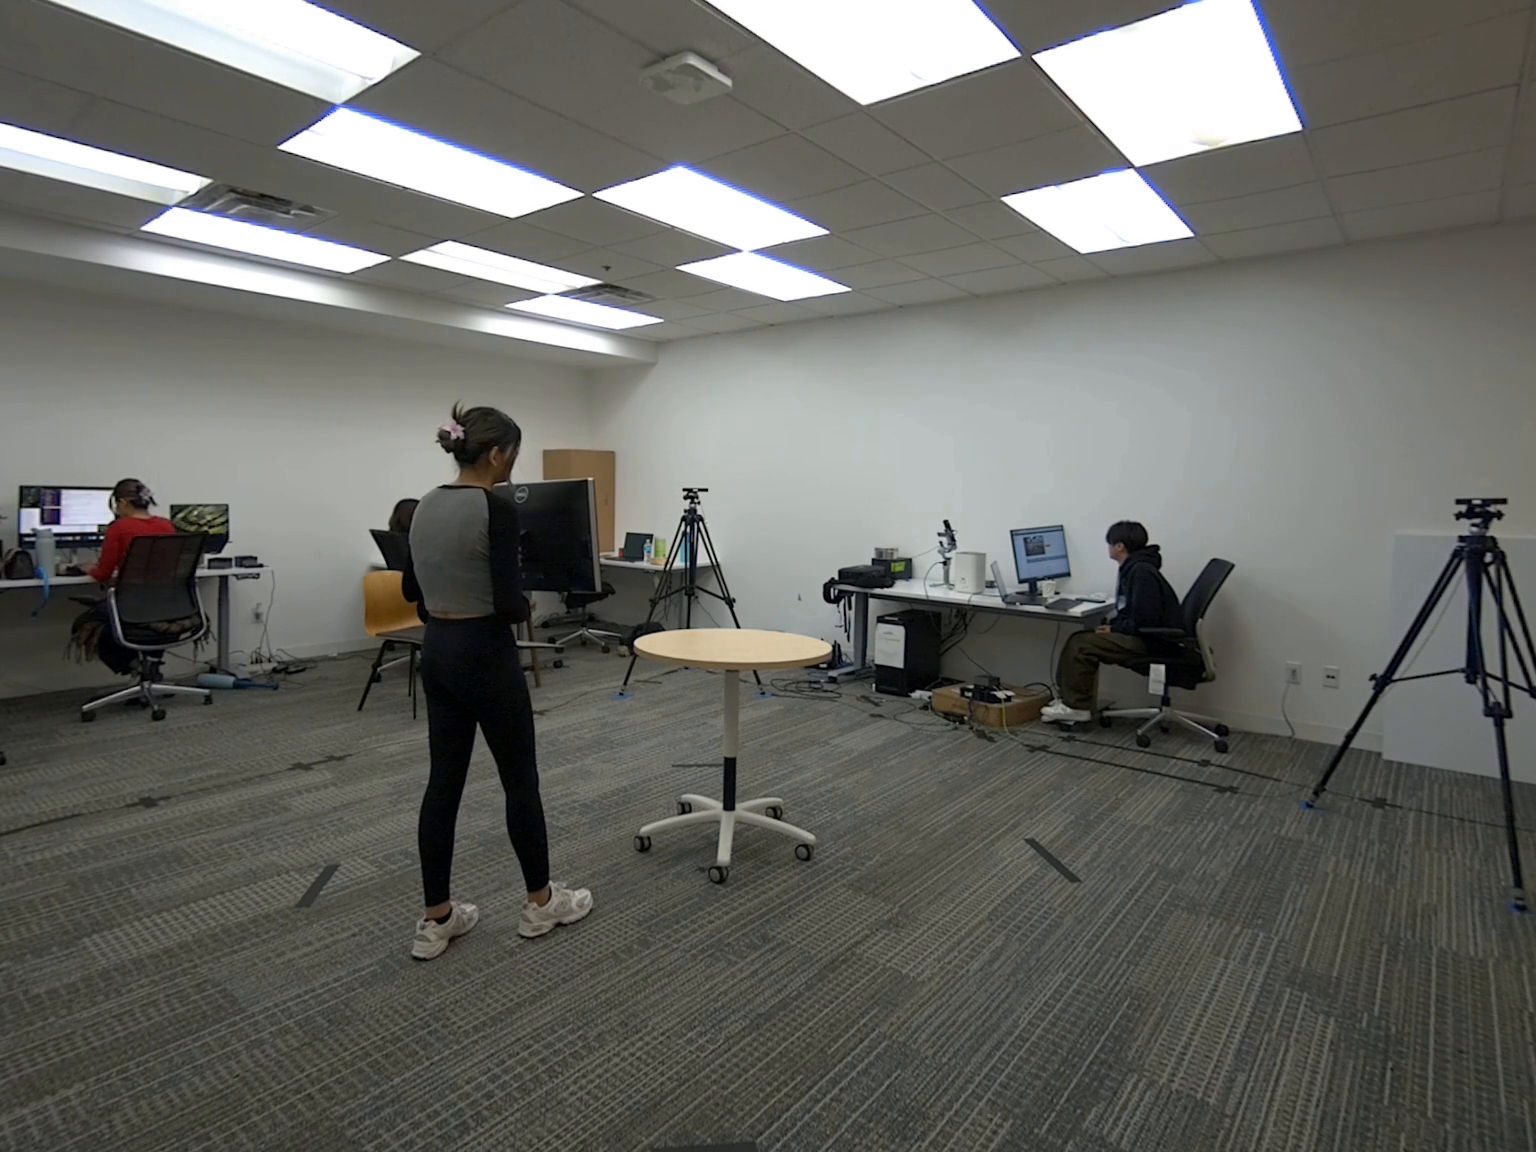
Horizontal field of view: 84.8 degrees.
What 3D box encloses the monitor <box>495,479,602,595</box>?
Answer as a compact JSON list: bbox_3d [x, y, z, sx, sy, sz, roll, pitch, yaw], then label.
[{"bbox_3d":[-0.809,-0.045,2.783,0.555,0.525,0.181,0,-6,31],"label":"monitor"}]
